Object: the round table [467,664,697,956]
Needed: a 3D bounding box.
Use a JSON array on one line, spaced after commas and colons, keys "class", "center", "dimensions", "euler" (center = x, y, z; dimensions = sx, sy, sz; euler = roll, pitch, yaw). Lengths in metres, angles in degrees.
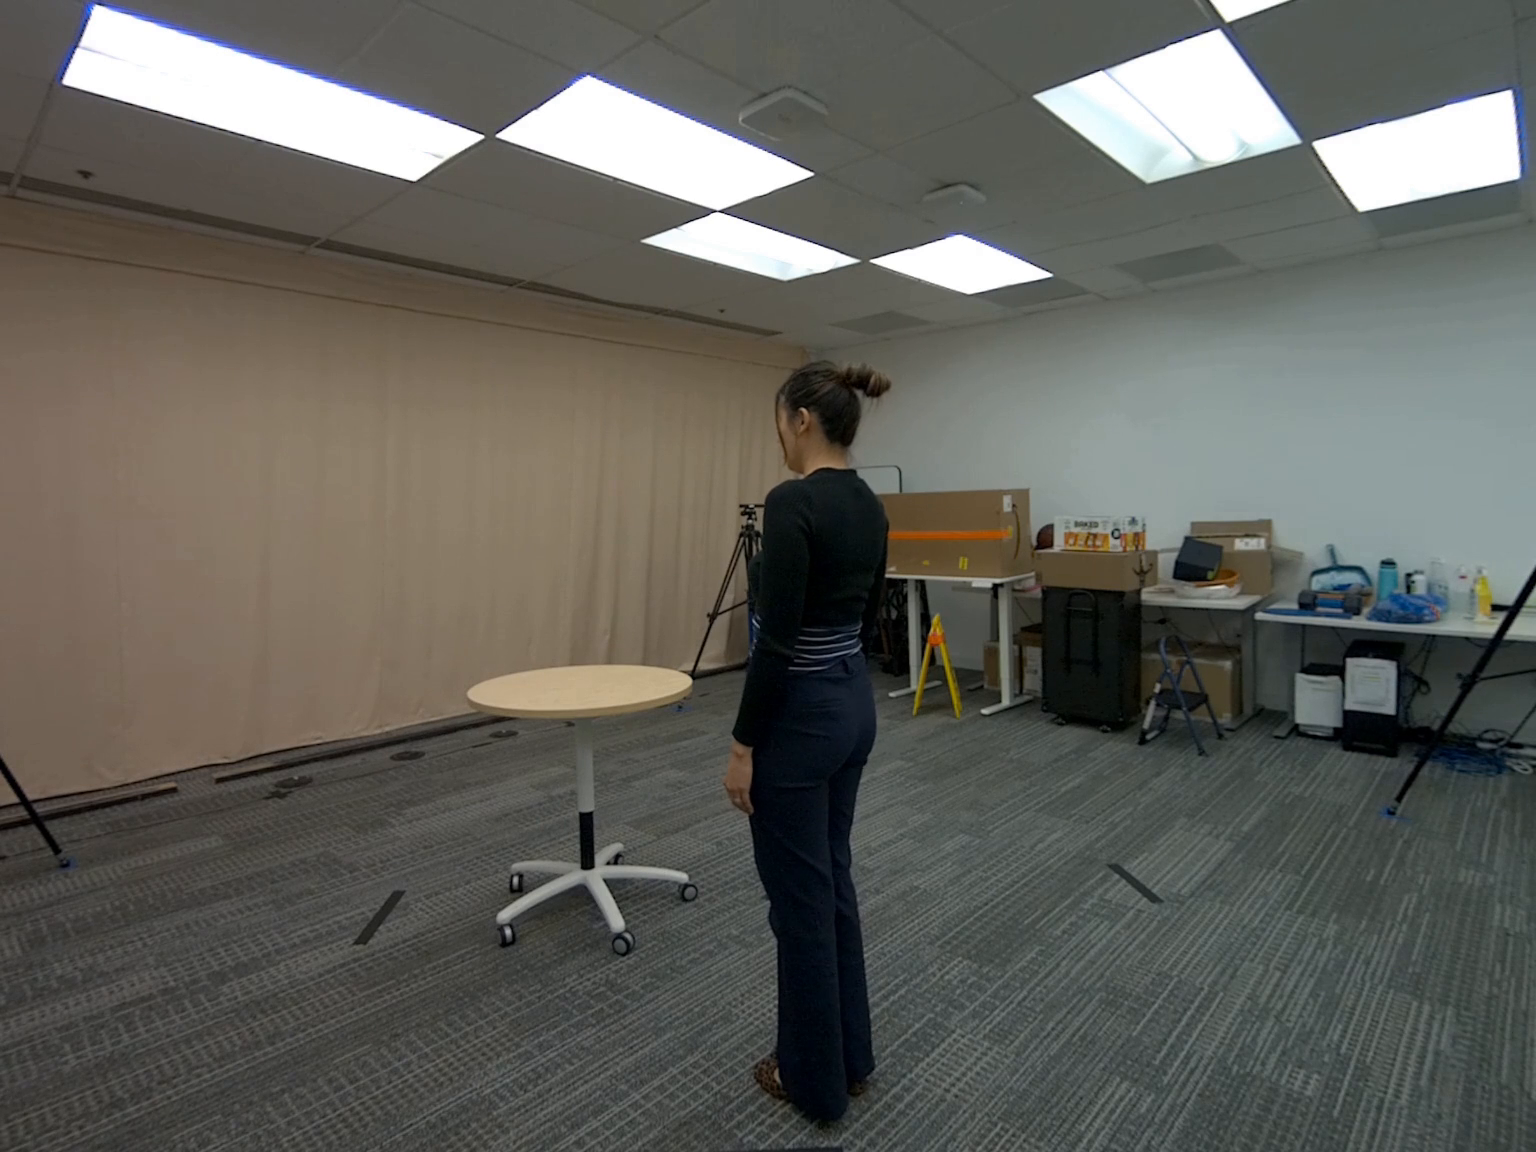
[{"class": "round table", "center": [-0.632, 0.771, 2.921], "dimensions": [0.763, 0.793, 0.766], "euler": [-2, 3, -2]}]
